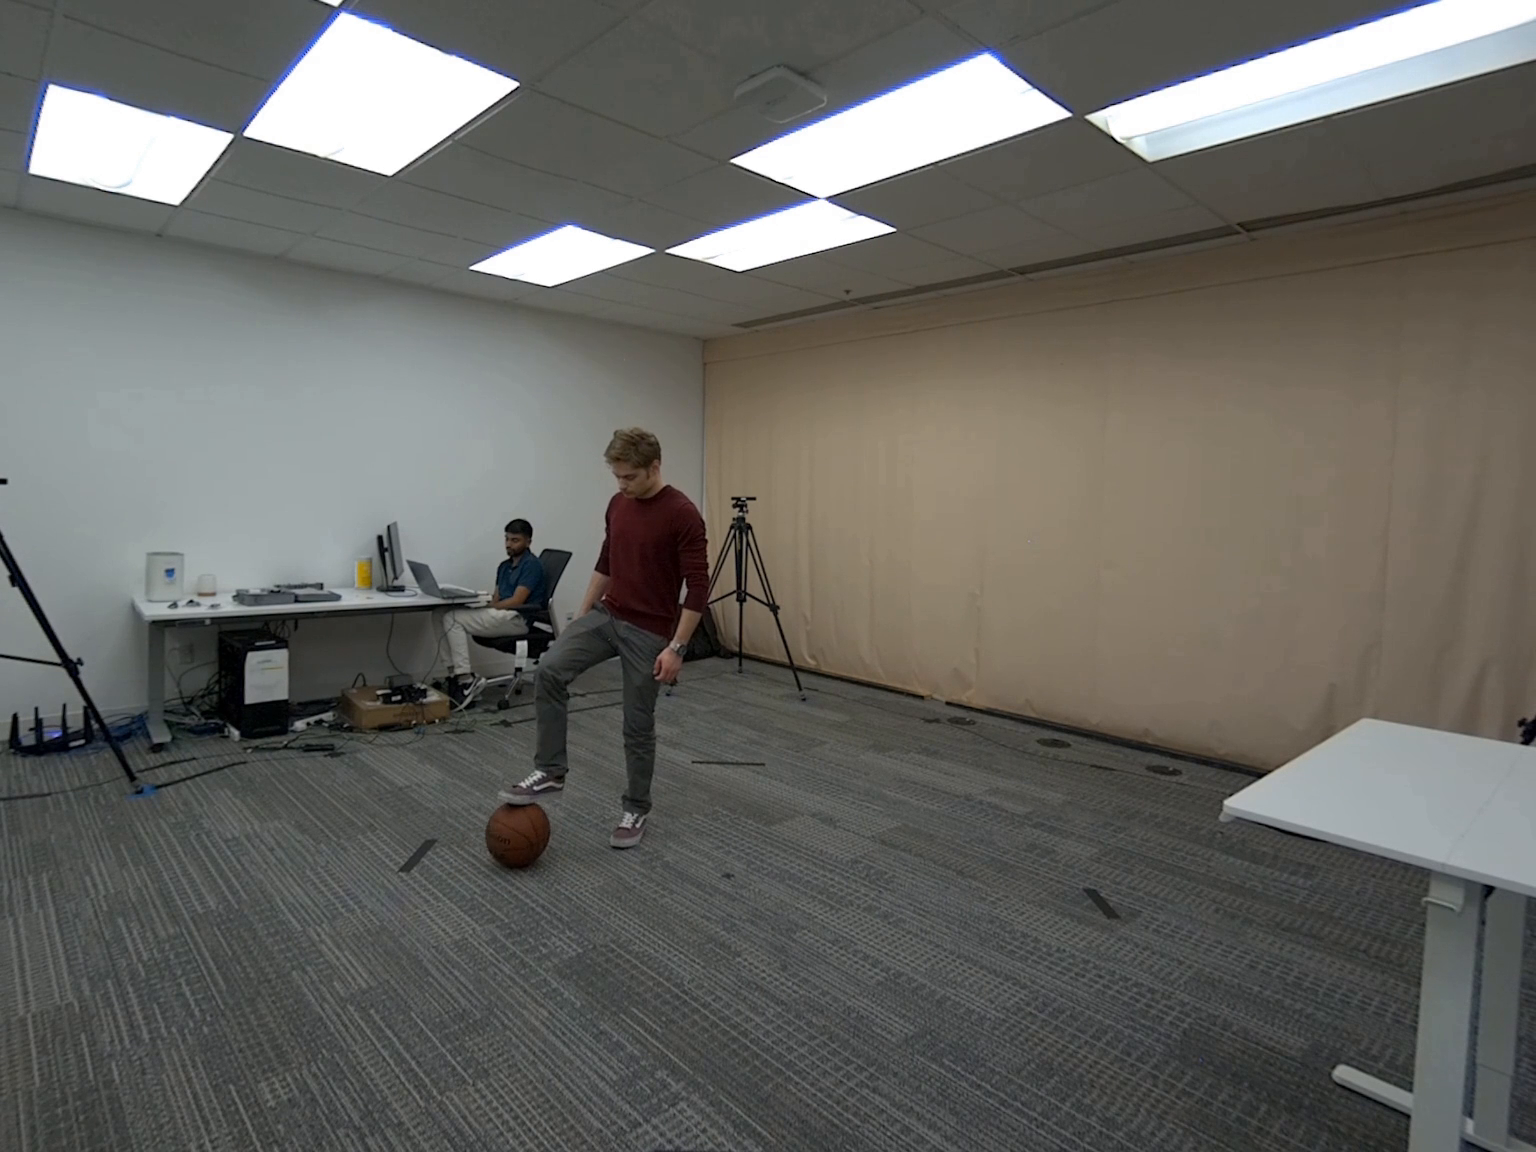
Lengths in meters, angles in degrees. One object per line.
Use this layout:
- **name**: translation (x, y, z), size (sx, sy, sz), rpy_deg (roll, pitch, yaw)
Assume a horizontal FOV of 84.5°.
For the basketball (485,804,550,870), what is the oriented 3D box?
- **basketball**: translation (-0.950, 0.968, 3.159), size (0.236, 0.235, 0.237), rpy_deg (1, 4, -1)
